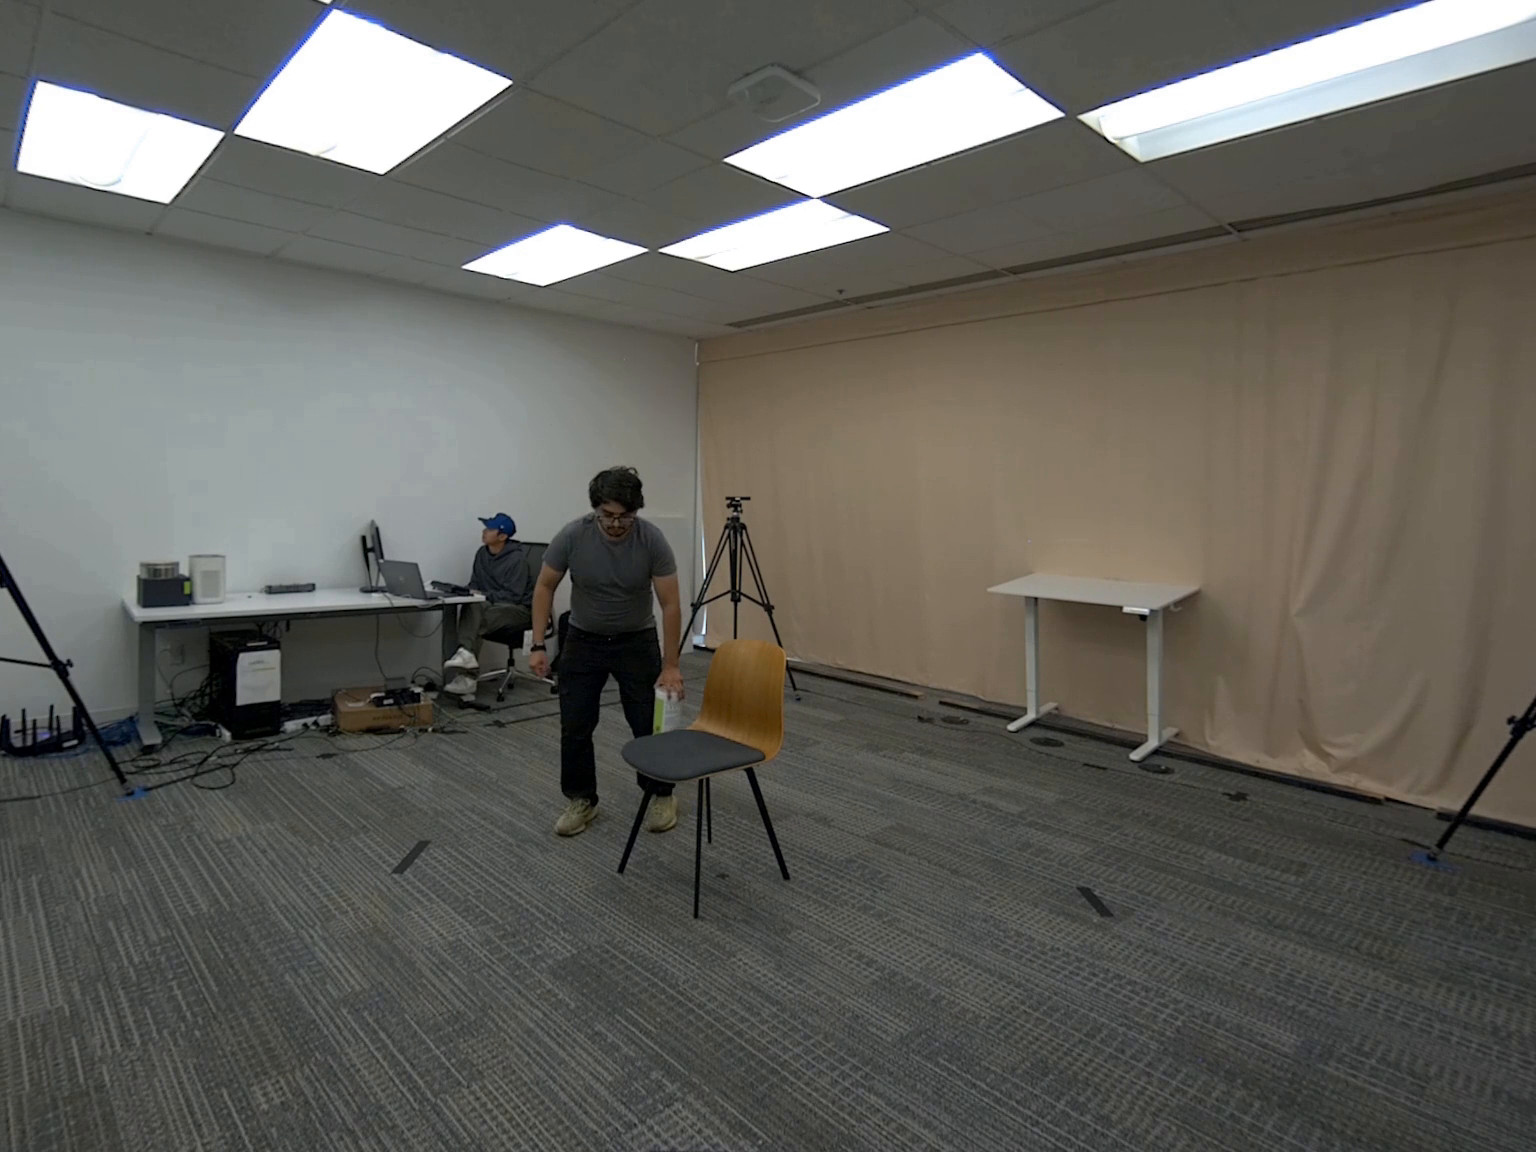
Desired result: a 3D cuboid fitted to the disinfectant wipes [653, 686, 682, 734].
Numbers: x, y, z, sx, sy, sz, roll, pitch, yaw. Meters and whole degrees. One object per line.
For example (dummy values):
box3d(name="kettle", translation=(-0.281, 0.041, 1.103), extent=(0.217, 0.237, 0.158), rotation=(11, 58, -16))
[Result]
box3d(name="disinfectant wipes", translation=(-0.416, 0.570, 3.432), extent=(0.117, 0.216, 0.119), rotation=(5, 10, -2))
